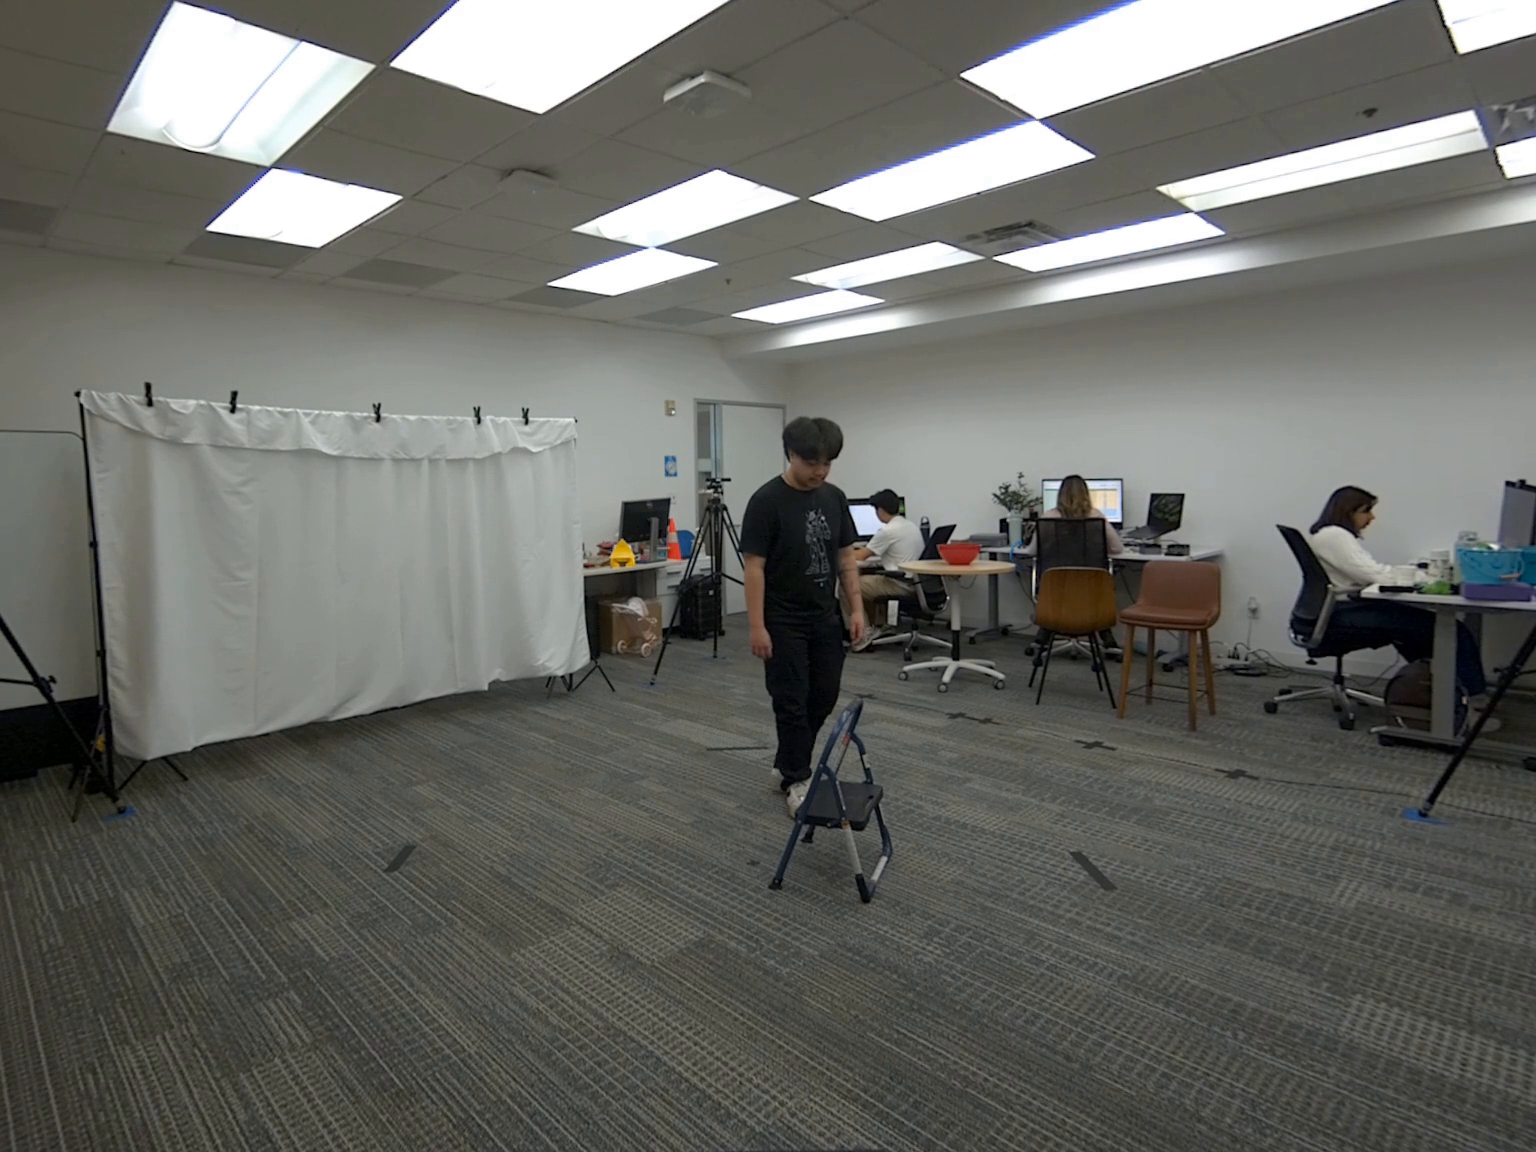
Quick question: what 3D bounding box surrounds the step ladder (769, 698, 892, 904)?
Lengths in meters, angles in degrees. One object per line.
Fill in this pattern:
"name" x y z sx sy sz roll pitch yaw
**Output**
"step ladder" 0.225 0.748 3.021 0.356 0.604 0.424 0 5 20
